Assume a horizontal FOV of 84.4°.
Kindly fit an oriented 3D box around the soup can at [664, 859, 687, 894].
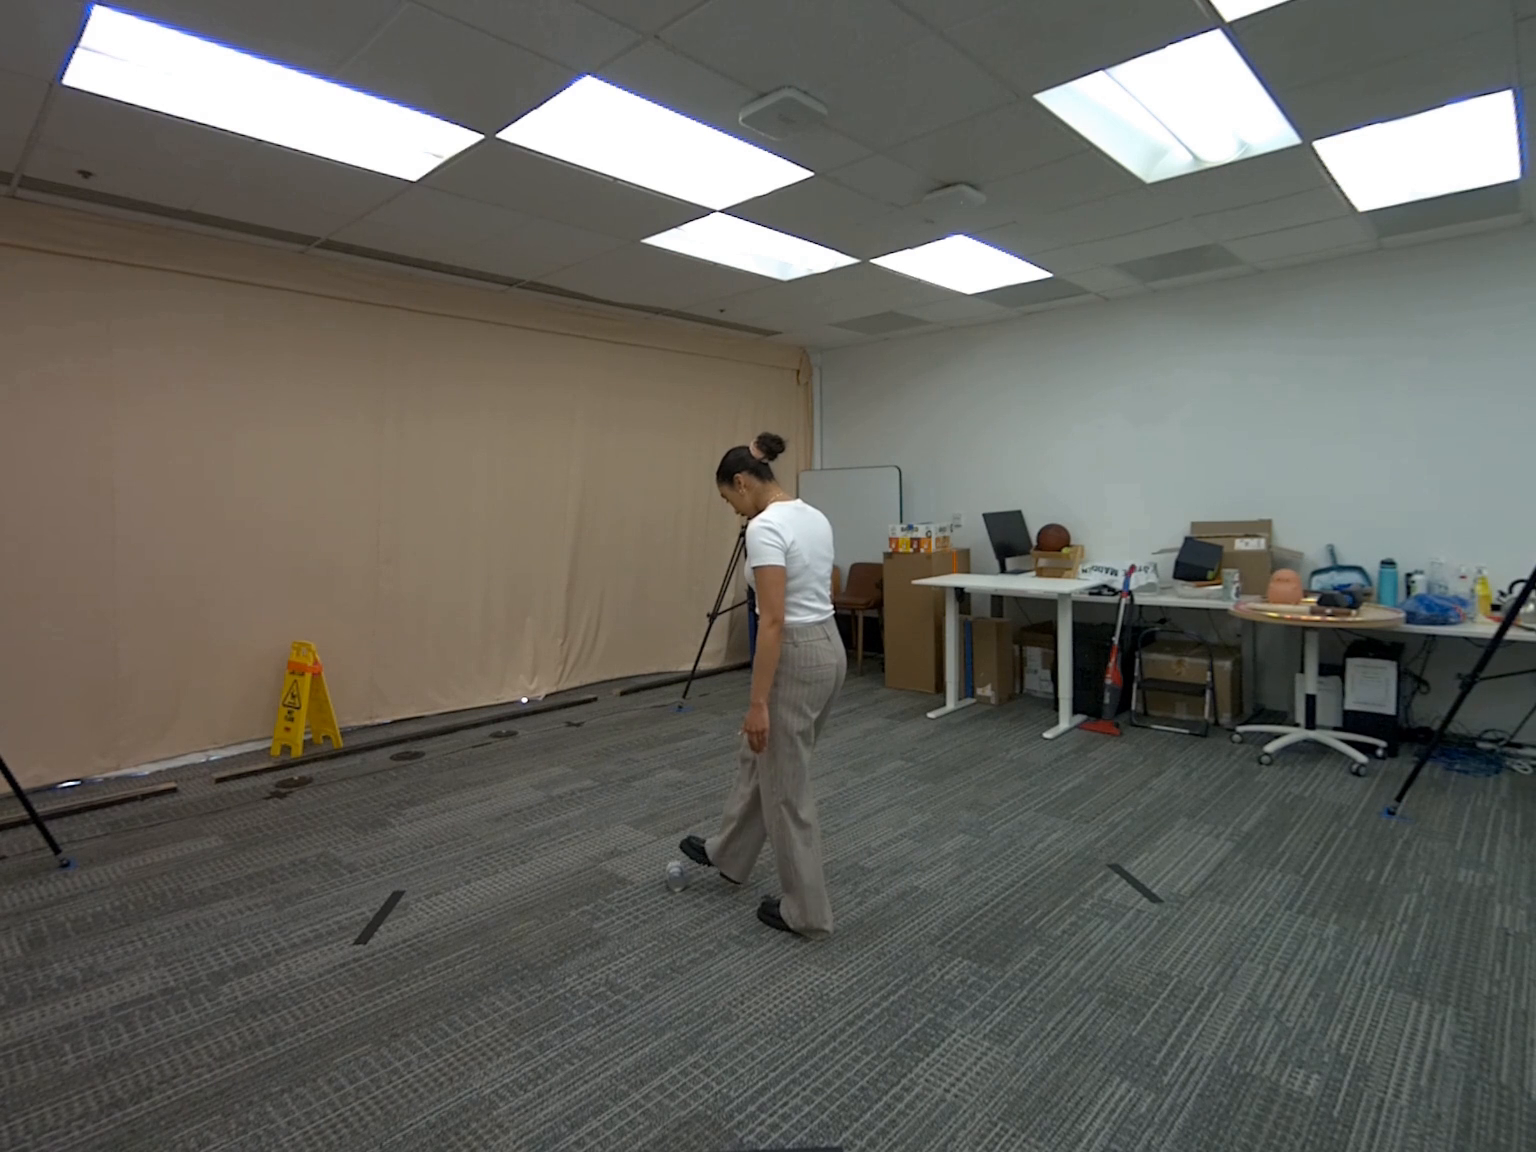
[{"bbox_3d":[-0.336,1.100,3.100,0.066,0.067,0.123,-2,3,-13],"label":"soup can"}]
